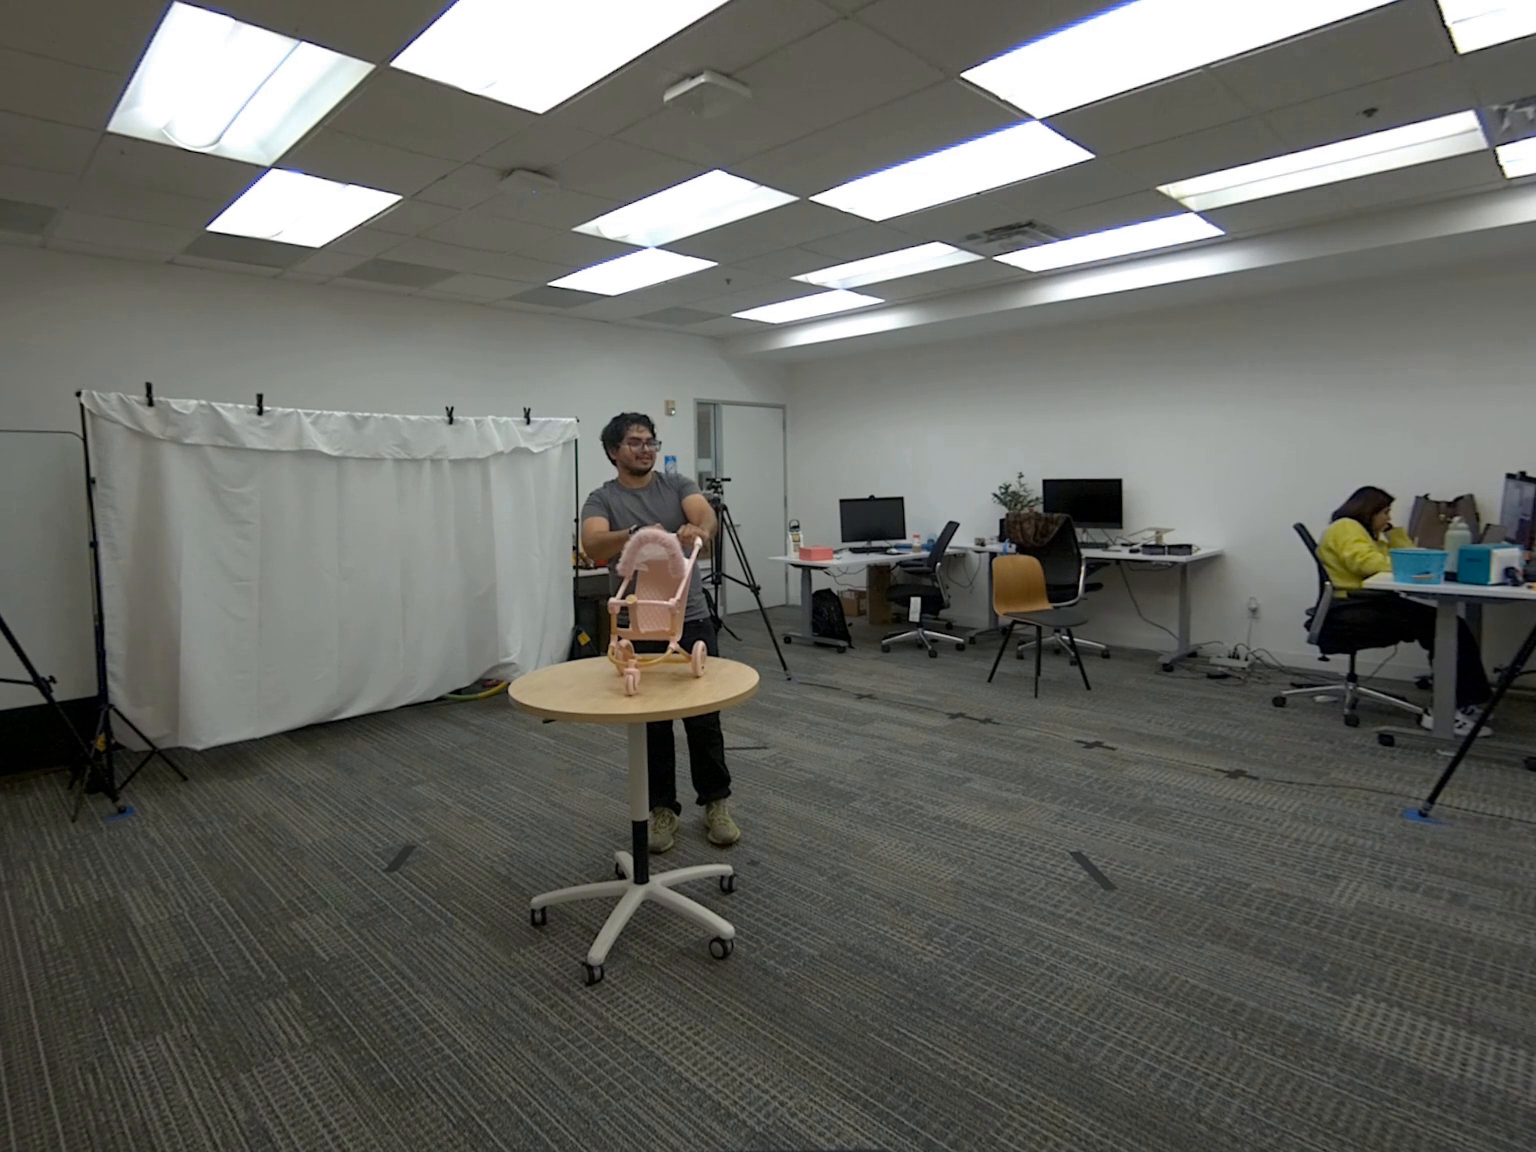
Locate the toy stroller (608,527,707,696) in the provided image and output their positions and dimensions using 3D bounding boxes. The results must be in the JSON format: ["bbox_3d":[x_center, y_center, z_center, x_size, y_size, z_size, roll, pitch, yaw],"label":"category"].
[{"bbox_3d":[-0.360,0.100,2.612,0.286,0.540,0.333,0,-10,17],"label":"toy stroller"}]
